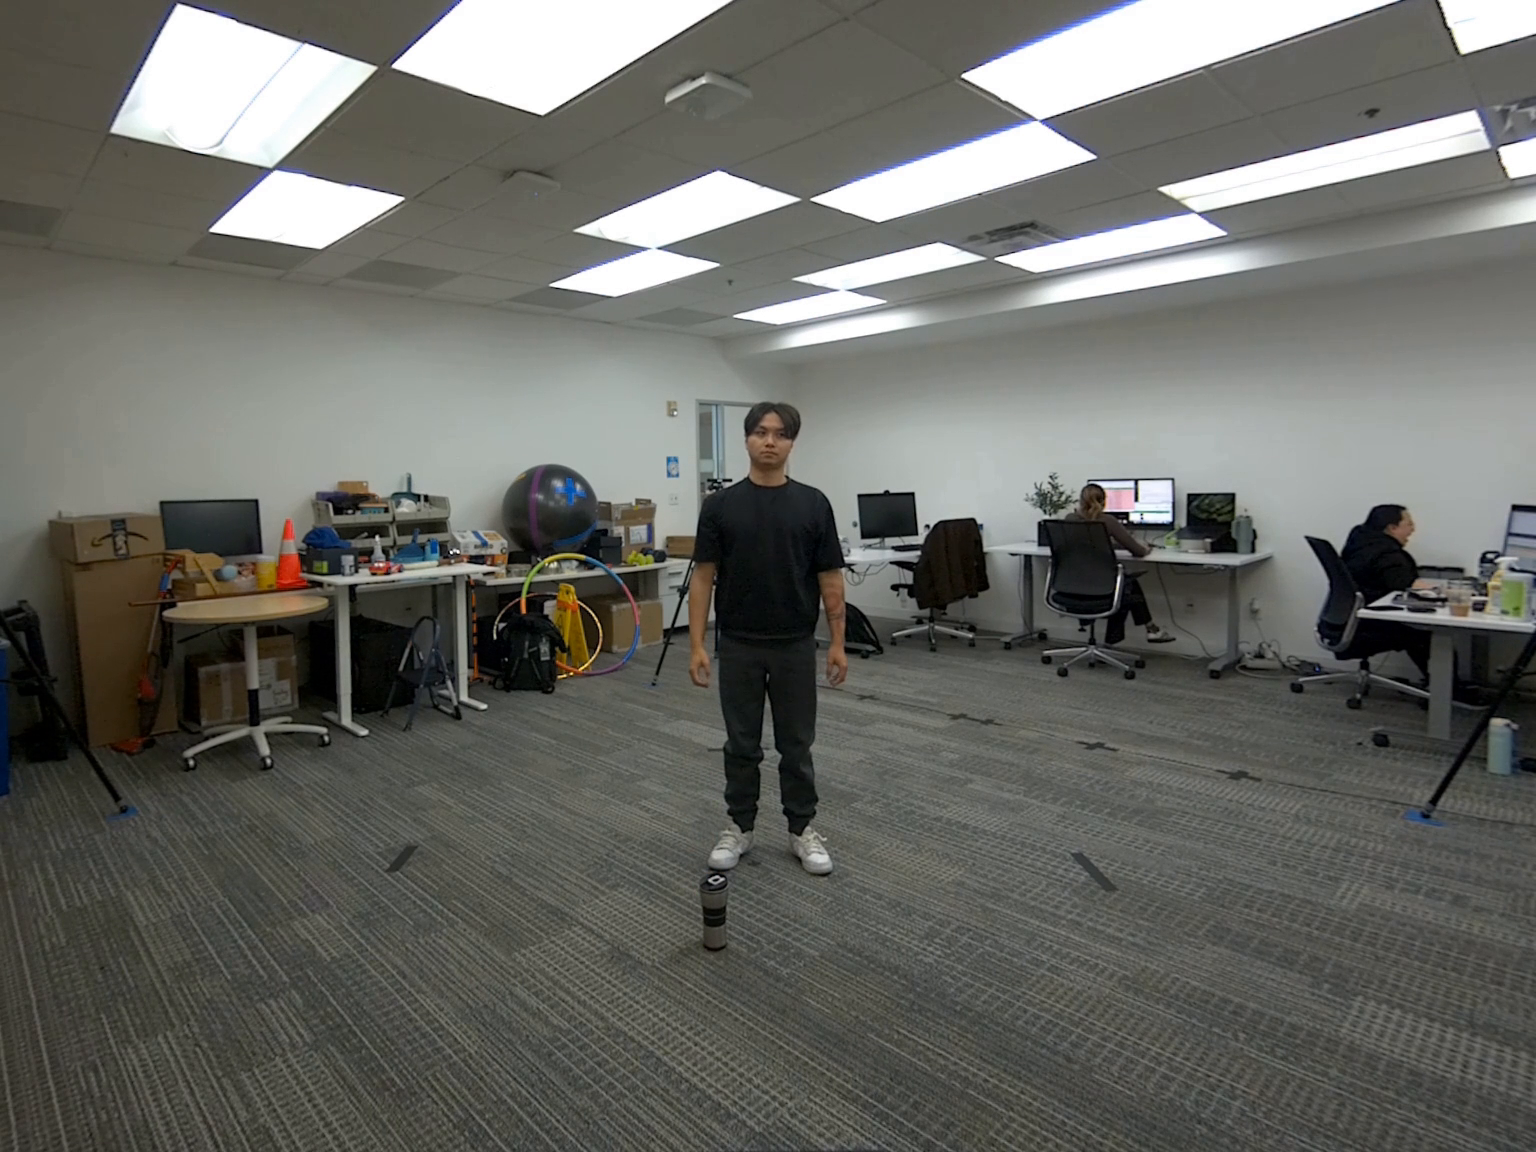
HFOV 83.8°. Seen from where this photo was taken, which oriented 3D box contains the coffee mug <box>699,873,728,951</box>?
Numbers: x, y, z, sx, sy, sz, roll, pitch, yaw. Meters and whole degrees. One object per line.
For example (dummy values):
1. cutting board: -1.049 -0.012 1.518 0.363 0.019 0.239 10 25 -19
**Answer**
1. coffee mug: -0.142 1.012 2.571 0.090 0.202 0.119 -1 7 40
